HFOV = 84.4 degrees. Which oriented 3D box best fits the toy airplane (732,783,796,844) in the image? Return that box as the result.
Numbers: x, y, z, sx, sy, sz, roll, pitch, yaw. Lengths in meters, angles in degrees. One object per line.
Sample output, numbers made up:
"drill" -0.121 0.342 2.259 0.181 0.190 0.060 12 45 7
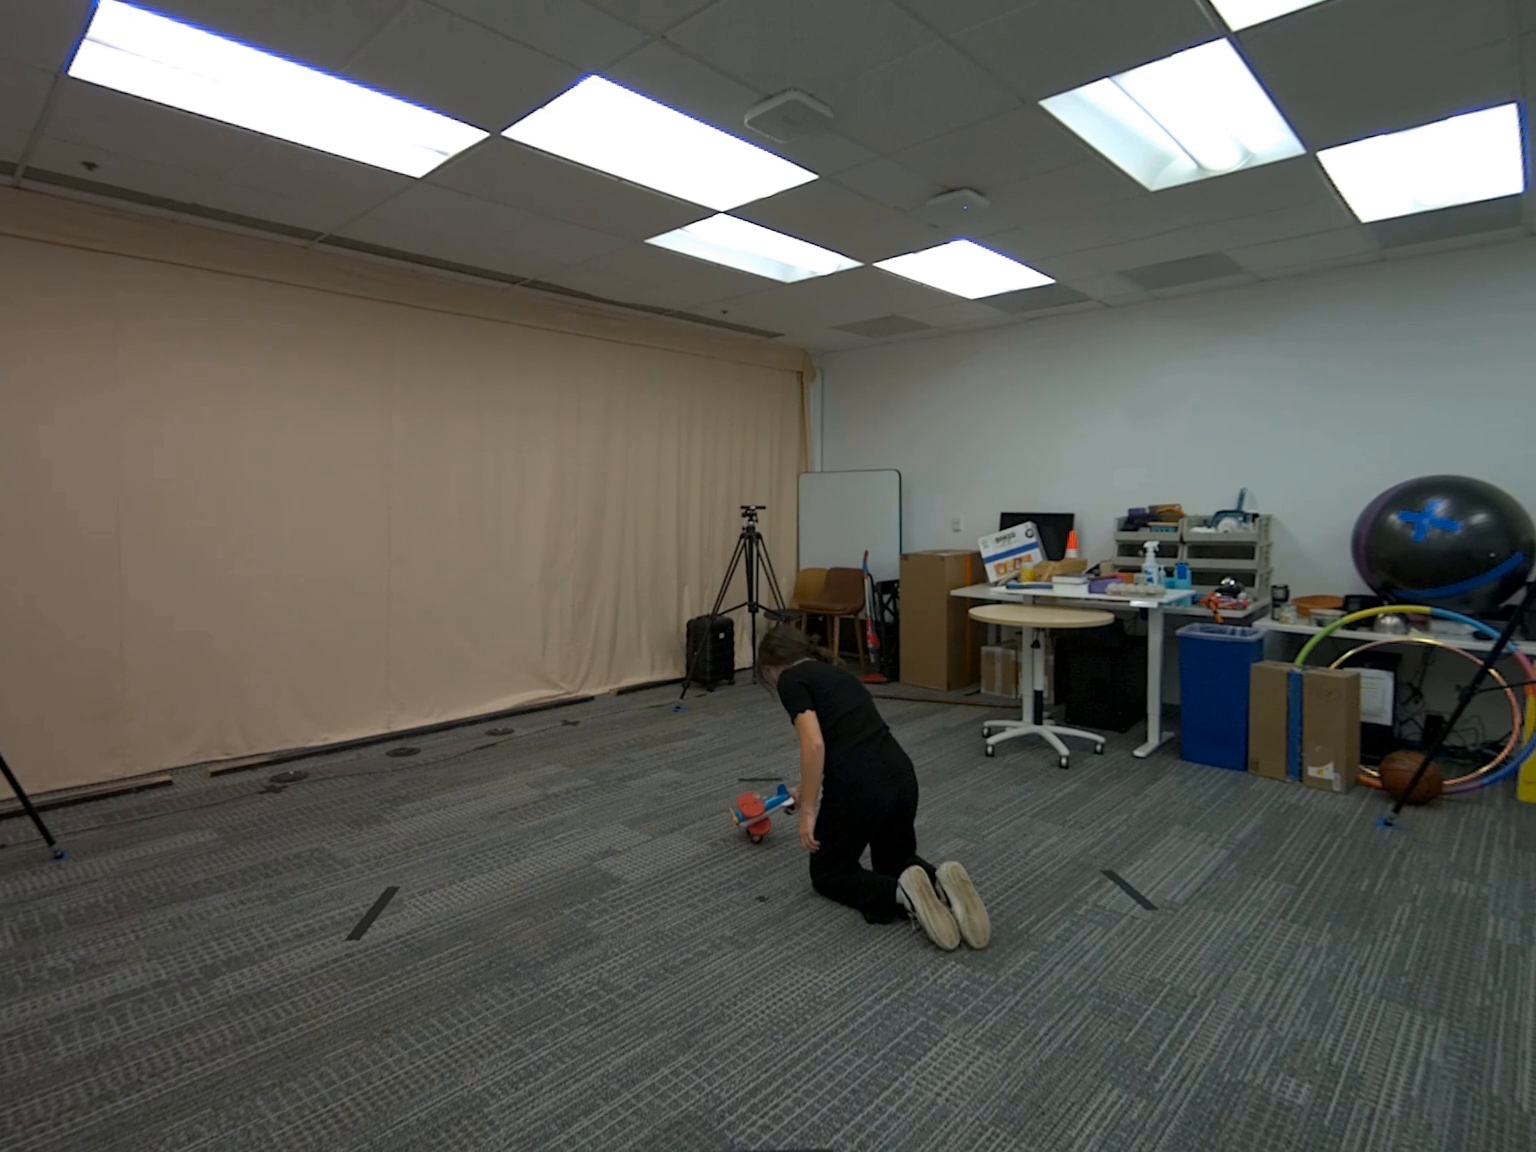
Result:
"toy airplane" -0.018 0.984 3.535 0.256 0.155 0.257 -42 13 -35
